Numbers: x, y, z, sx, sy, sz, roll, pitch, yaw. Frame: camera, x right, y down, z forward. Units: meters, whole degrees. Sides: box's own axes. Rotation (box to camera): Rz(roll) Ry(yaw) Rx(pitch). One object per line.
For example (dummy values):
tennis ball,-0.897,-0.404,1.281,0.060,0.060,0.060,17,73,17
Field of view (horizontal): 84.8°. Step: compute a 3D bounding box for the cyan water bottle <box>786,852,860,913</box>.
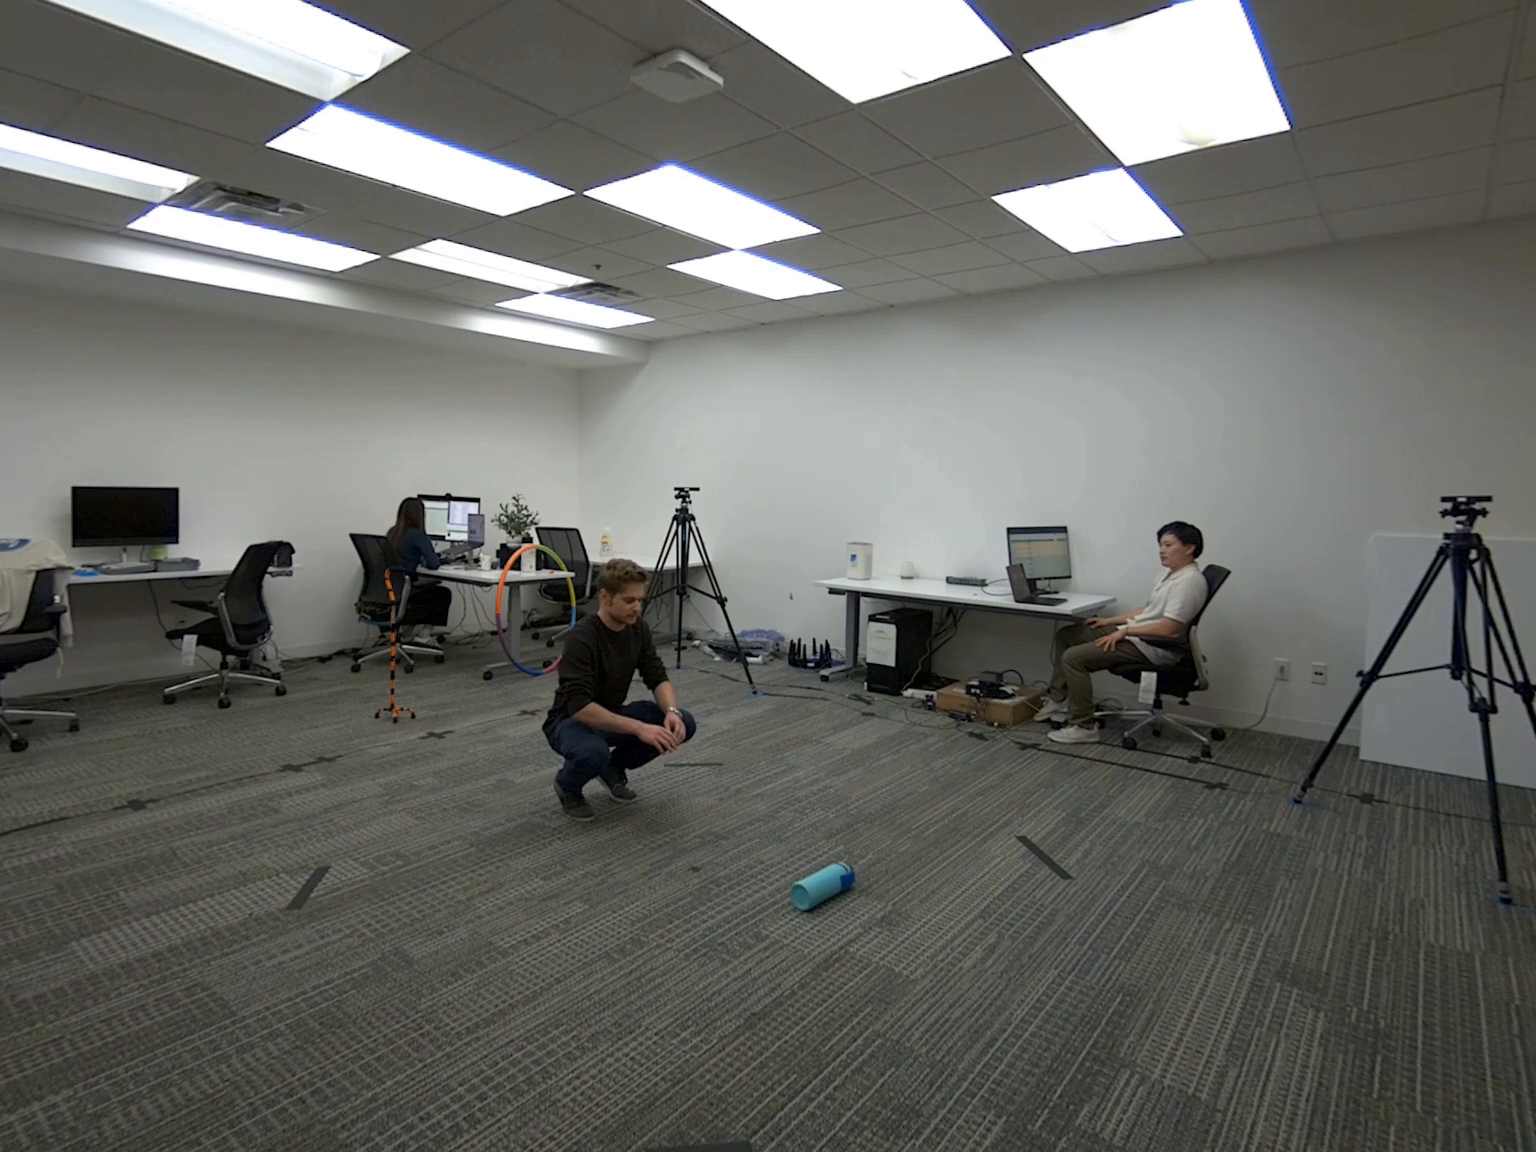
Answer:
cyan water bottle,0.191,1.049,2.895,0.095,0.092,0.275,5,6,43
